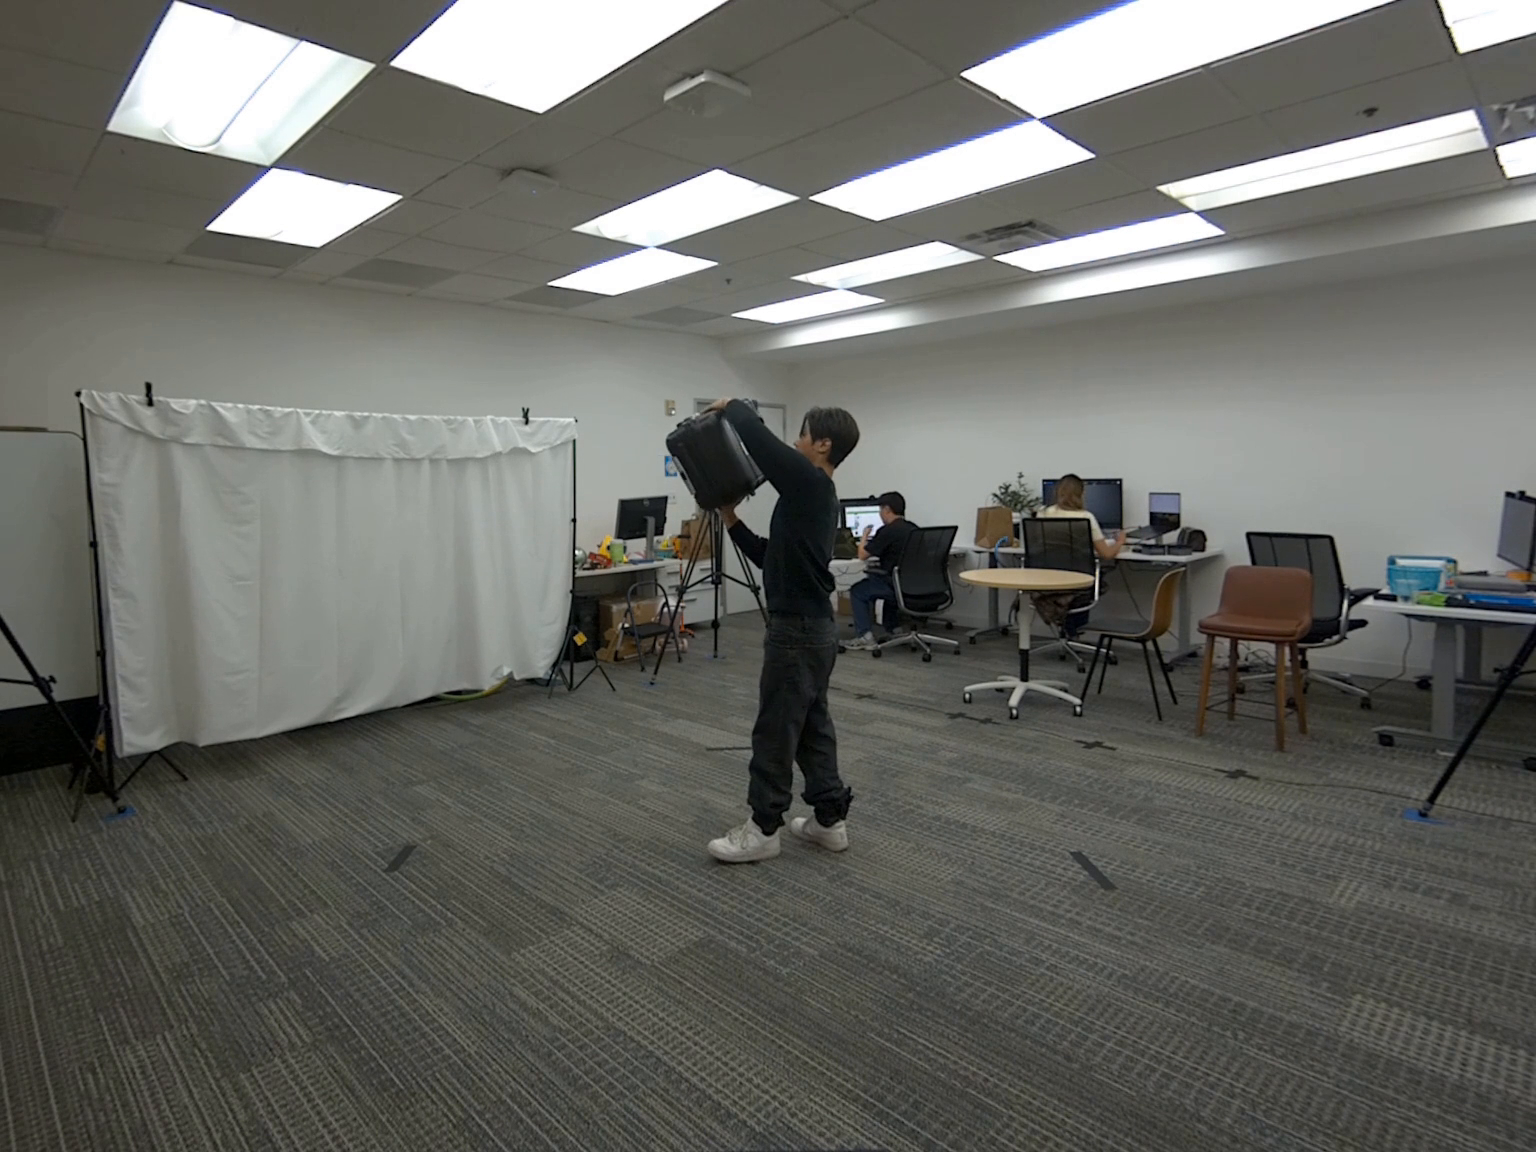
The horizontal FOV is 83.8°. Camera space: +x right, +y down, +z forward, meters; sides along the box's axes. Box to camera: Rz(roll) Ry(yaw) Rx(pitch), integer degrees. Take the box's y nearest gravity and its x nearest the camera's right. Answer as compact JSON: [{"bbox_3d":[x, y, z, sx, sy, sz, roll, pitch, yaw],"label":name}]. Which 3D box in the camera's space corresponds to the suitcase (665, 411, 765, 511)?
[{"bbox_3d":[-0.173,-0.499,3.431,0.251,0.372,0.547,-23,8,23],"label":"suitcase"}]
